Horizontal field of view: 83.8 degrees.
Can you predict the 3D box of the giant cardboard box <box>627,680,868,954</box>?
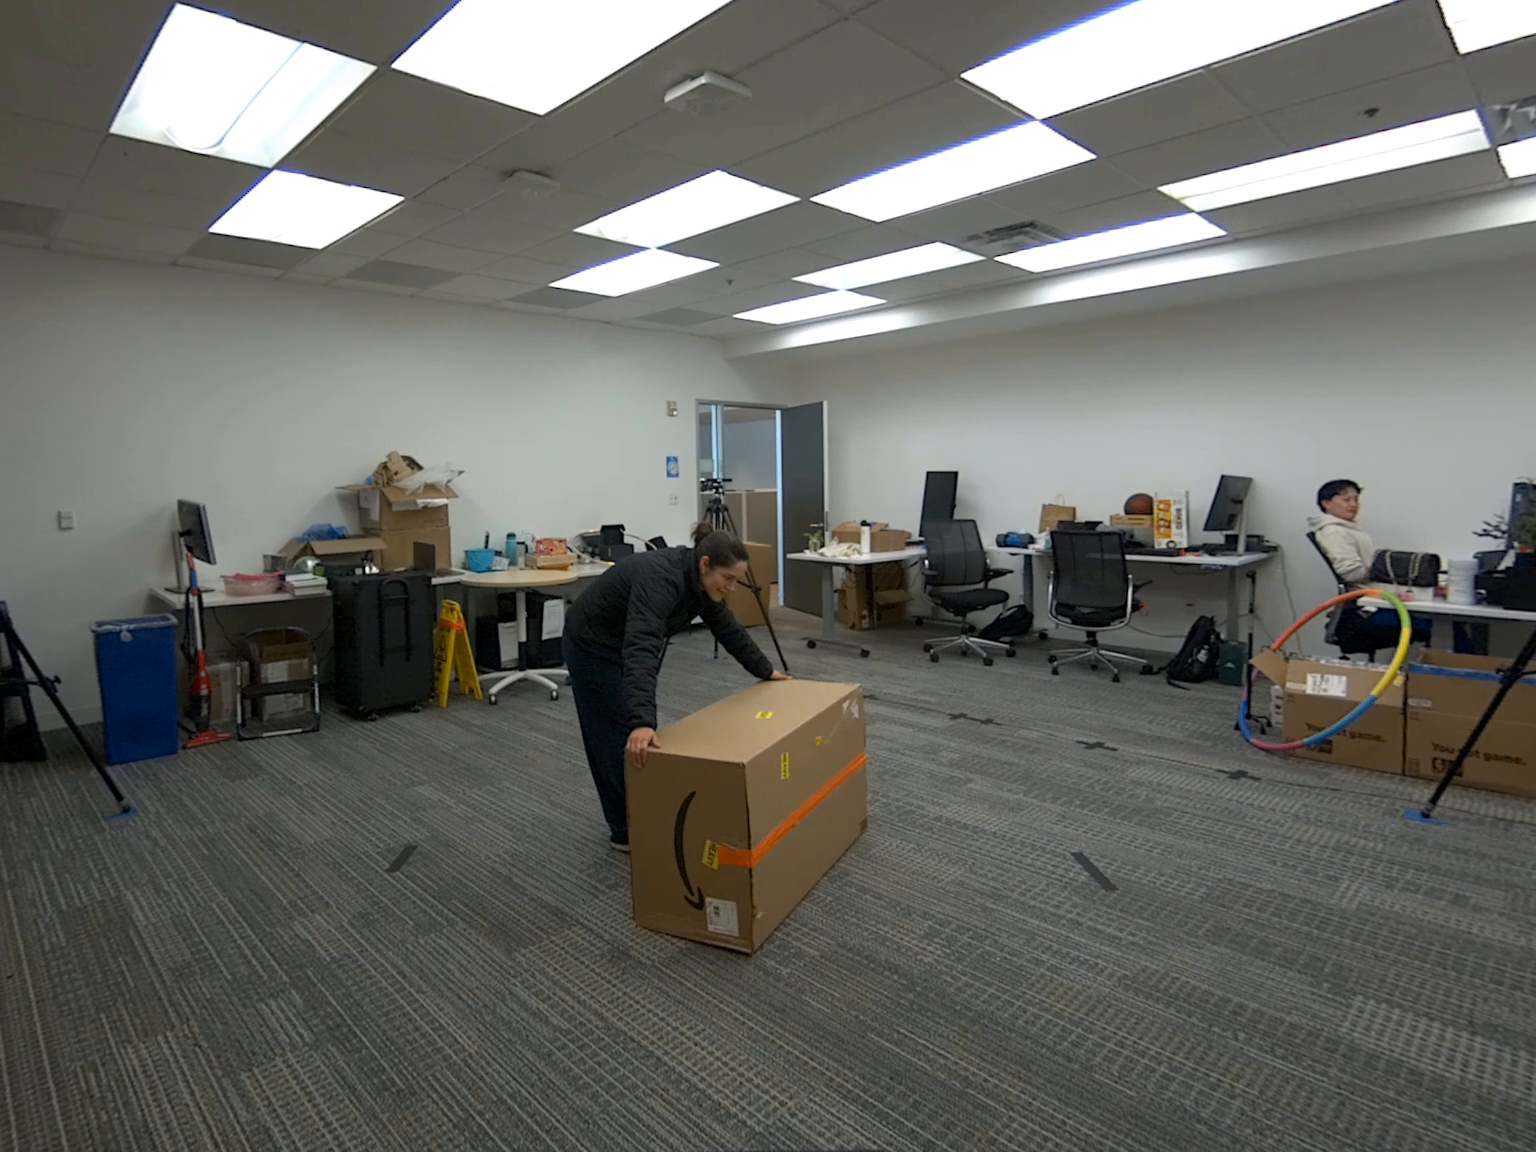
[{"bbox_3d":[-0.027,0.763,3.024,0.457,0.581,1.007,0,6,26],"label":"giant cardboard box"}]
